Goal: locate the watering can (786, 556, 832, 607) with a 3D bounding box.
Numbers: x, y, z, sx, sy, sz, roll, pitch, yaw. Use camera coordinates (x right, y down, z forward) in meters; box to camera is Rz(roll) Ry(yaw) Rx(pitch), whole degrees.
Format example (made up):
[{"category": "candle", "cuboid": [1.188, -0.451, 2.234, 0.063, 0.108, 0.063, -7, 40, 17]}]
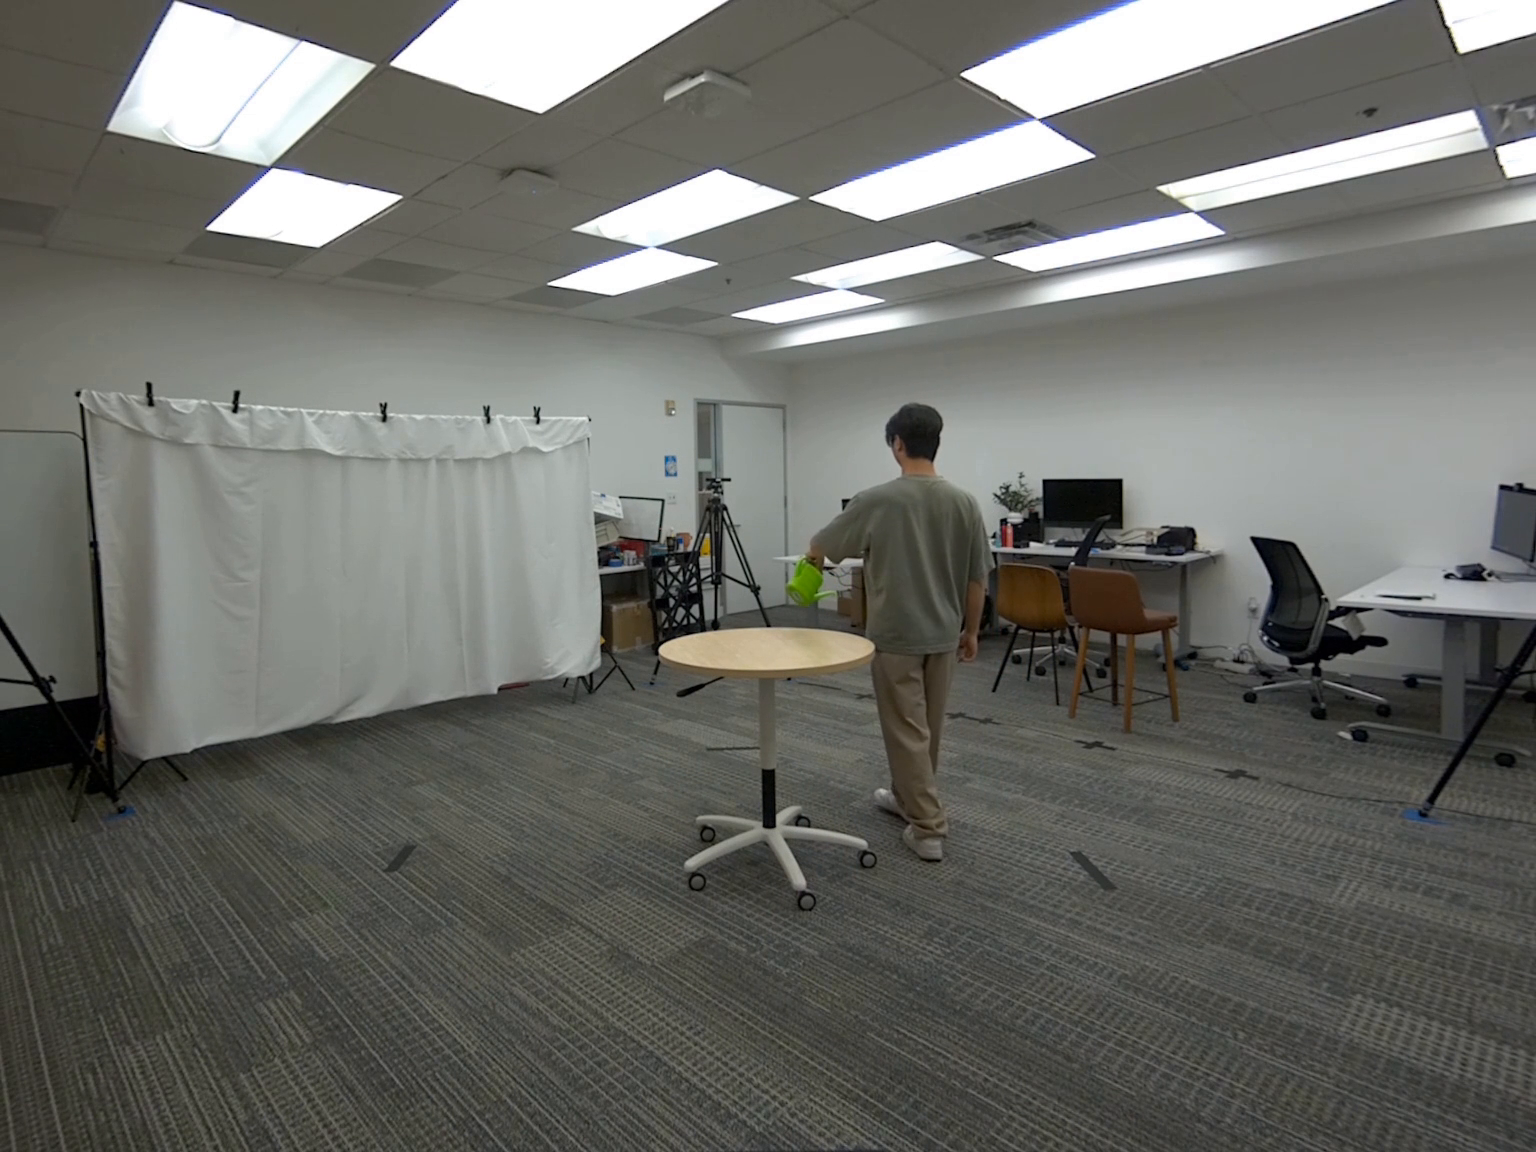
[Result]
[{"category": "watering can", "cuboid": [0.191, 0.051, 3.566, 0.100, 0.271, 0.177, -14, 35, 54]}]
